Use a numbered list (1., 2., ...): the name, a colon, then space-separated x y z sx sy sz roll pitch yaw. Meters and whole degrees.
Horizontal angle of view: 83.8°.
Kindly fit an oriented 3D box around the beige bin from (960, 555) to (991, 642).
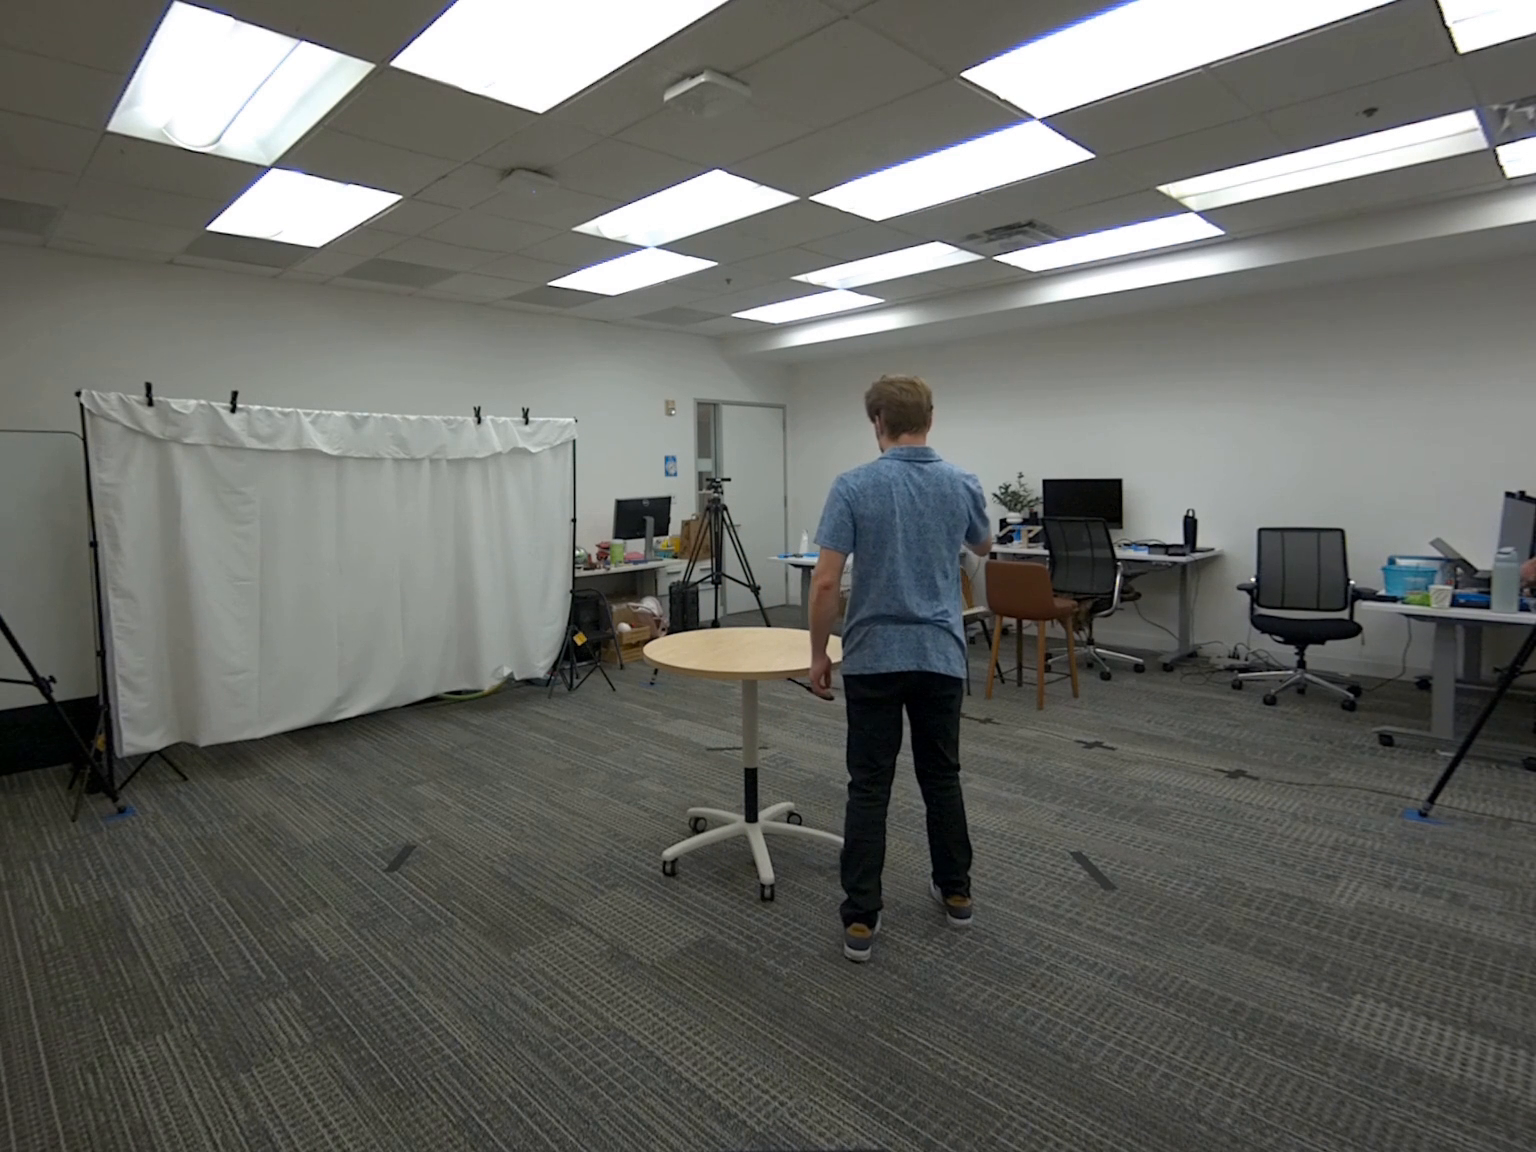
1. beige bin: 0.567 -0.038 3.022 0.191 0.429 0.367 -28 -16 40
